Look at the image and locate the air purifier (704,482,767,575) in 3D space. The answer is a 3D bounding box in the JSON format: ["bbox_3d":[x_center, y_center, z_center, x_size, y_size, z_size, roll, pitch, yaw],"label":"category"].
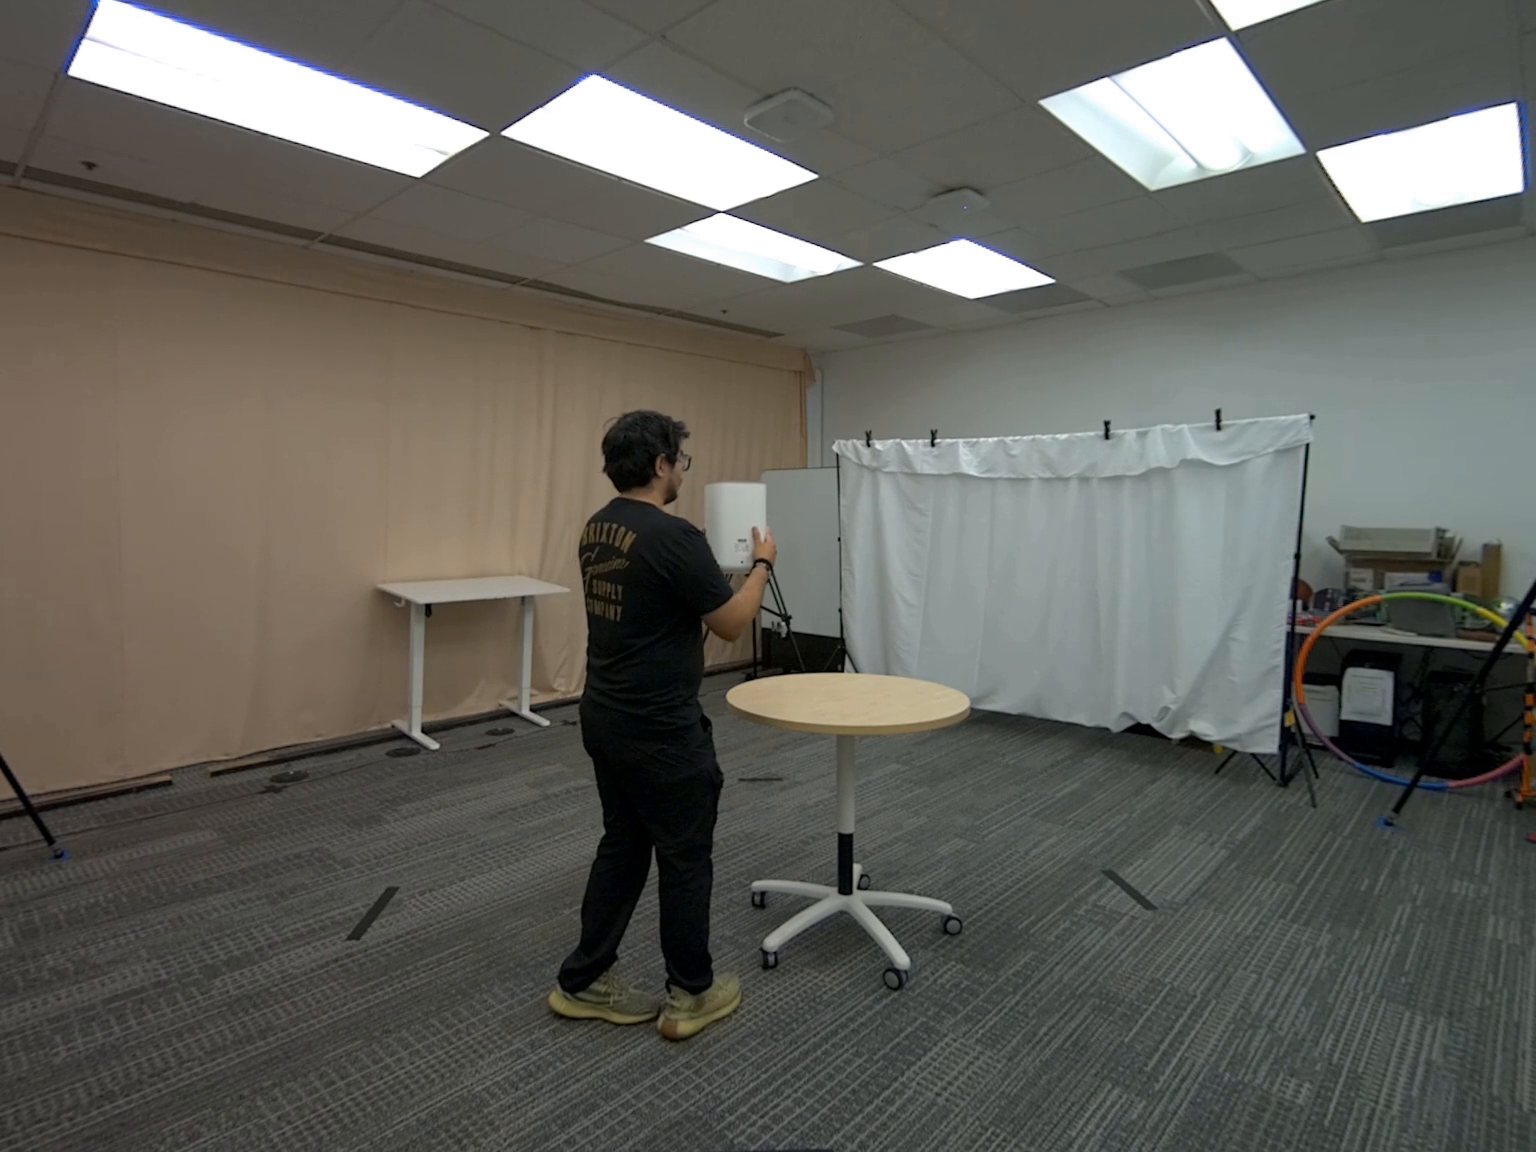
[{"bbox_3d":[-0.096,-0.138,2.474,0.170,0.266,0.172,-1,-2,-6],"label":"air purifier"}]
